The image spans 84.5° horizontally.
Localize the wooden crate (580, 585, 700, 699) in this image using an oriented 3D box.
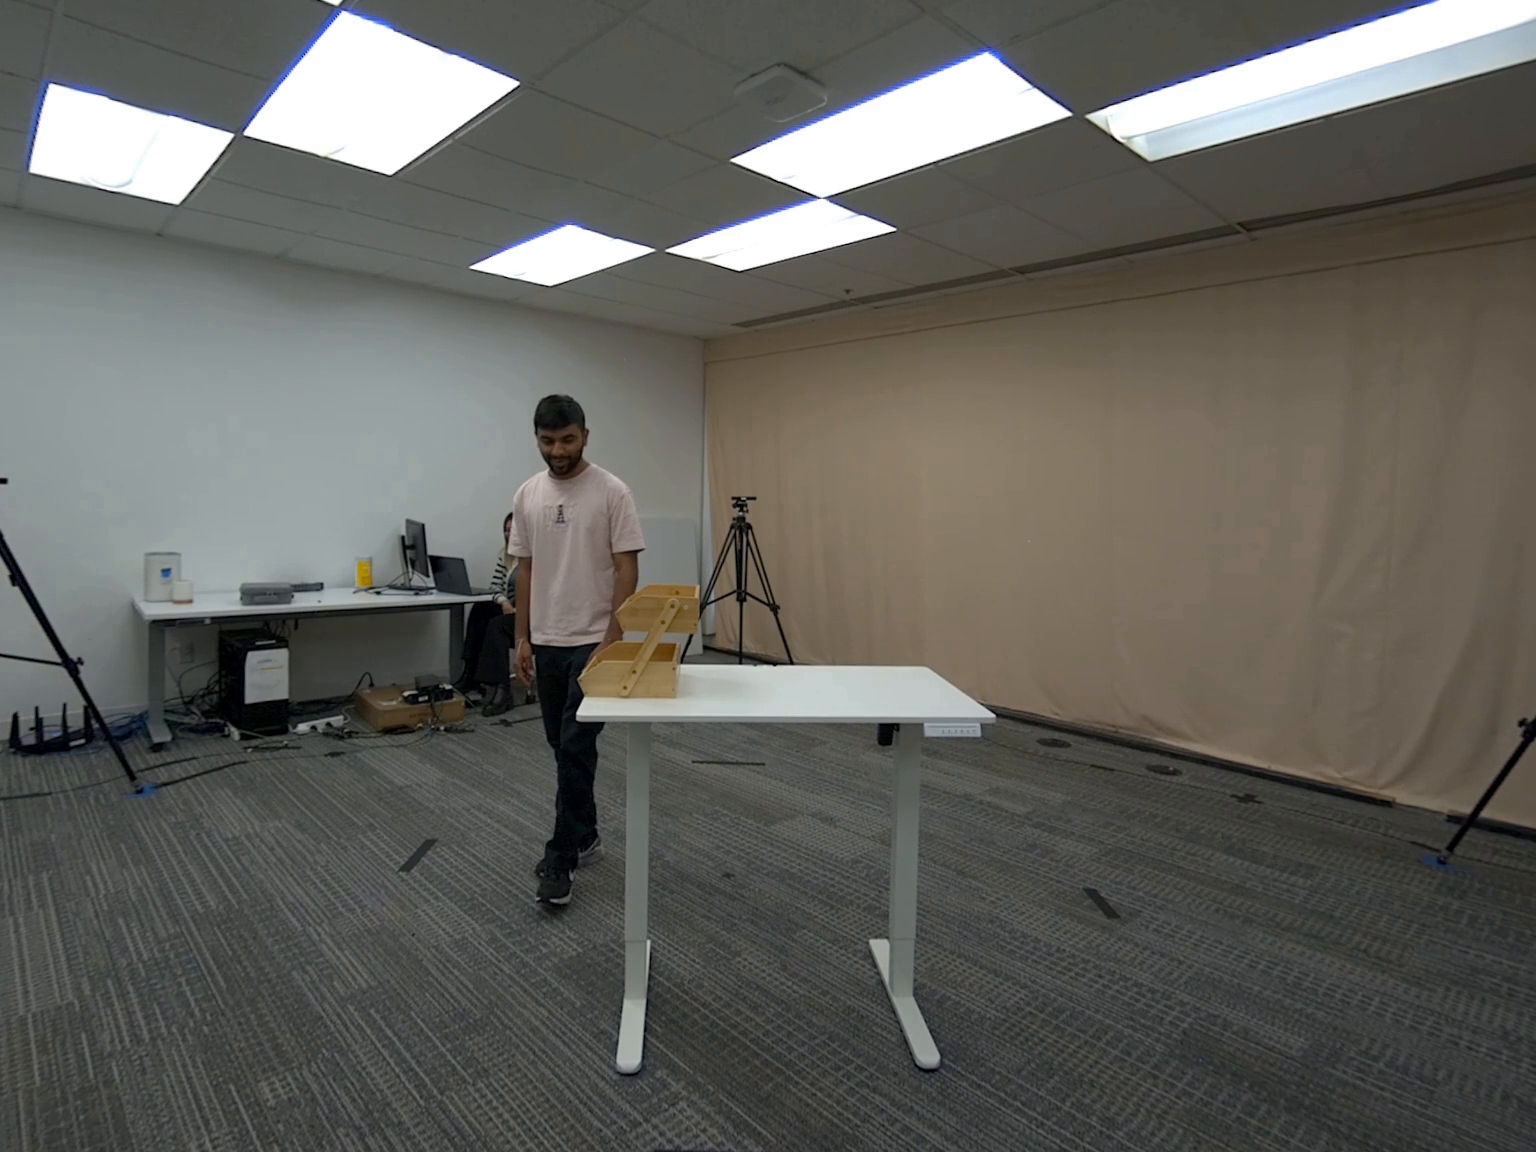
[{"bbox_3d":[-0.349,0.171,2.260,0.301,0.272,0.326,2,5,-3],"label":"wooden crate"}]
